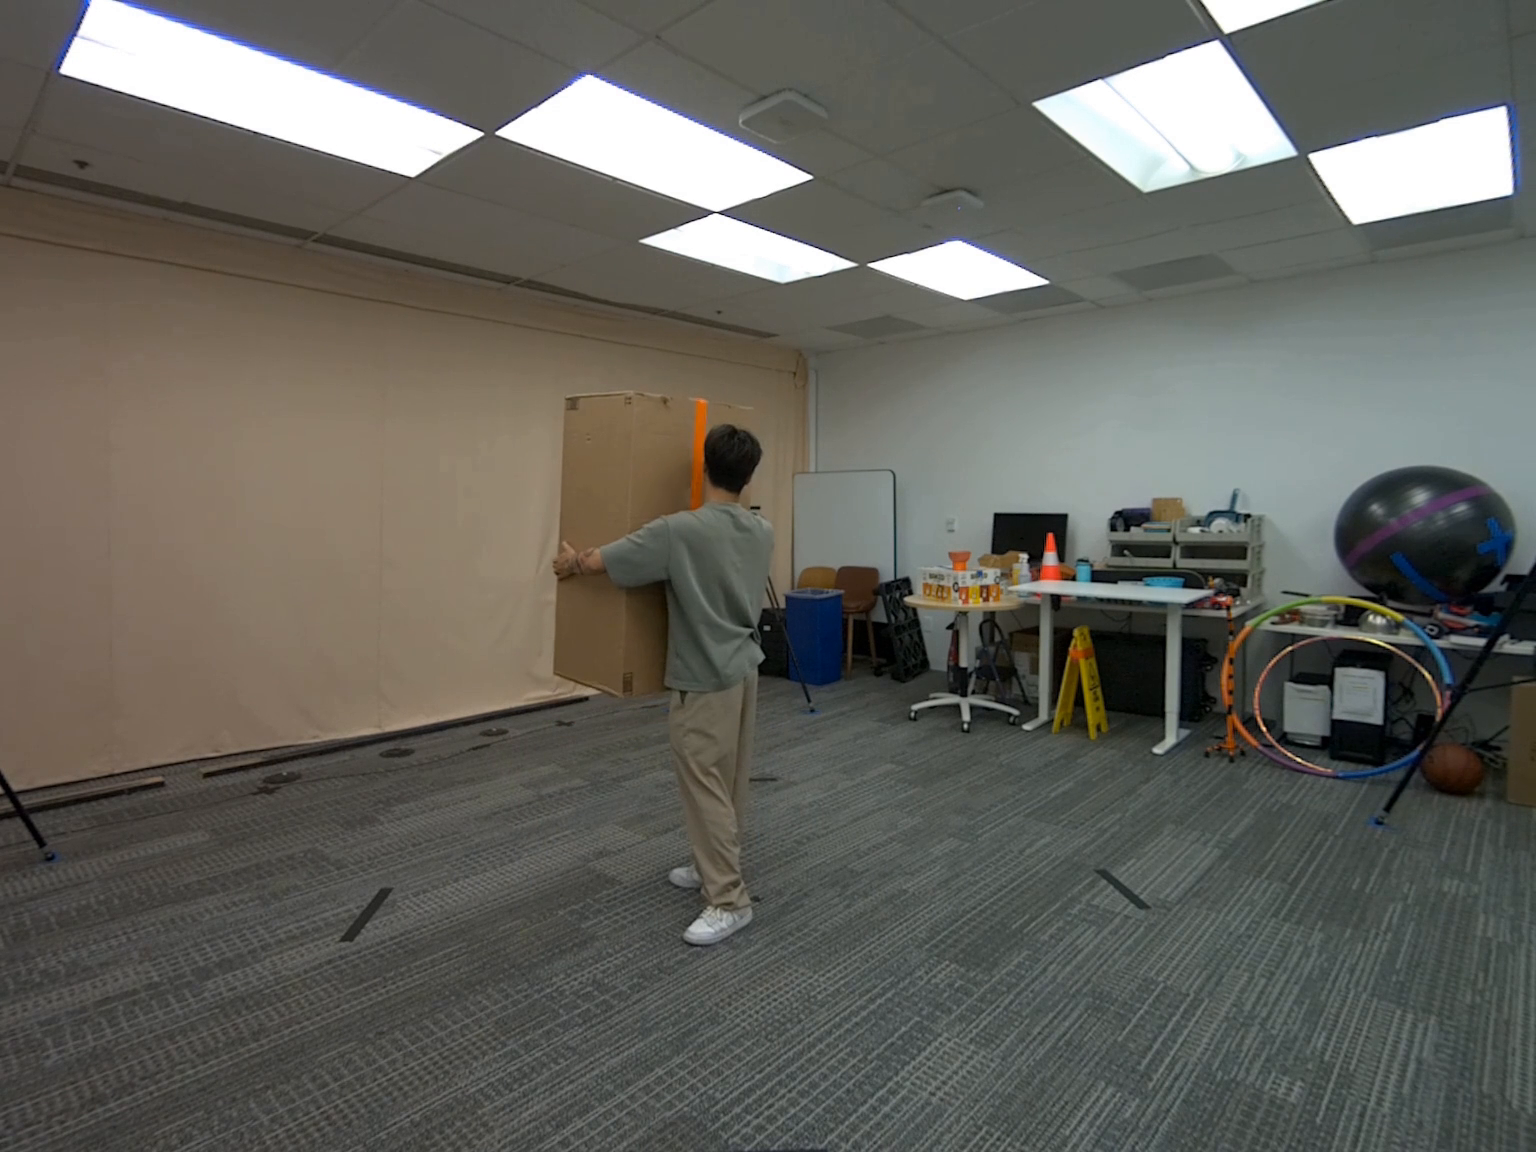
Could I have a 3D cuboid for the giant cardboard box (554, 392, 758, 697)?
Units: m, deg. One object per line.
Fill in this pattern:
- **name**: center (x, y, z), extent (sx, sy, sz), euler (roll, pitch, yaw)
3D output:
- **giant cardboard box**: center (-0.417, -0.130, 3.126), extent (0.559, 1.023, 0.441), euler (-1, 5, -45)
